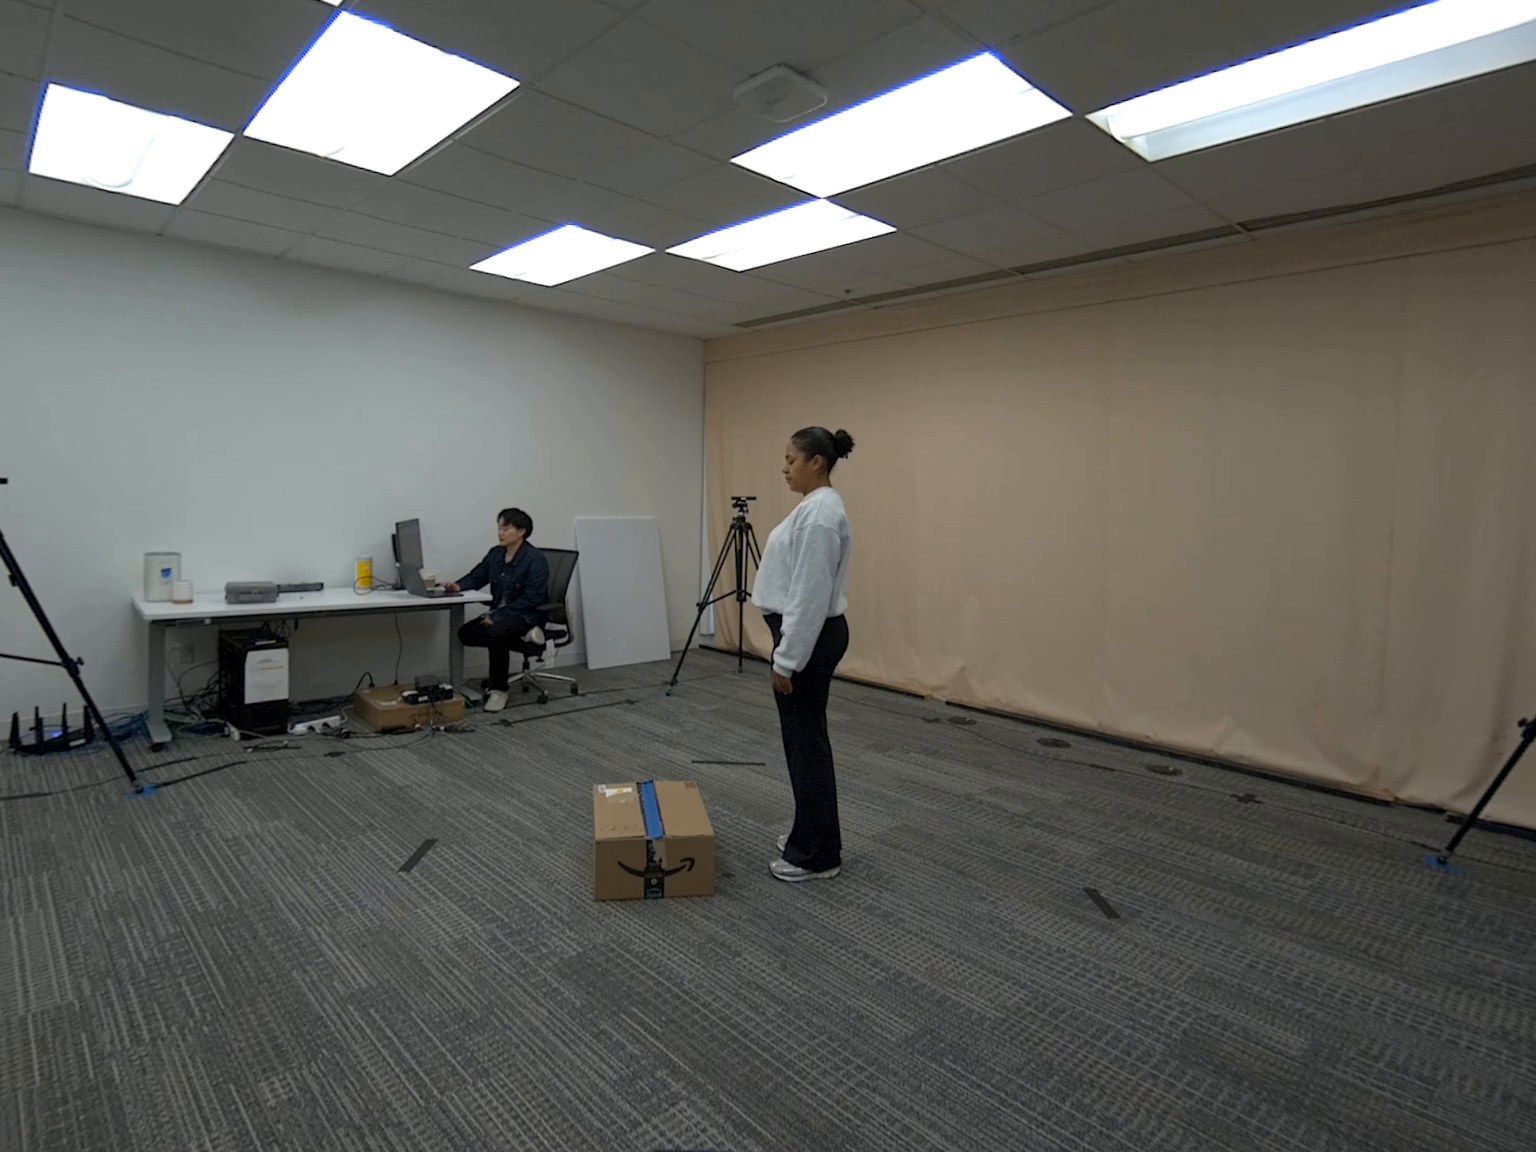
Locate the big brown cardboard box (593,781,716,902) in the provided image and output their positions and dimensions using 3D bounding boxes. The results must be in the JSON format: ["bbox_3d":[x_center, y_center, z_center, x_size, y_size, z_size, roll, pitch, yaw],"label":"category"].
[{"bbox_3d":[-0.459,0.979,3.183,0.414,0.232,0.596,0,6,-11],"label":"big brown cardboard box"}]
